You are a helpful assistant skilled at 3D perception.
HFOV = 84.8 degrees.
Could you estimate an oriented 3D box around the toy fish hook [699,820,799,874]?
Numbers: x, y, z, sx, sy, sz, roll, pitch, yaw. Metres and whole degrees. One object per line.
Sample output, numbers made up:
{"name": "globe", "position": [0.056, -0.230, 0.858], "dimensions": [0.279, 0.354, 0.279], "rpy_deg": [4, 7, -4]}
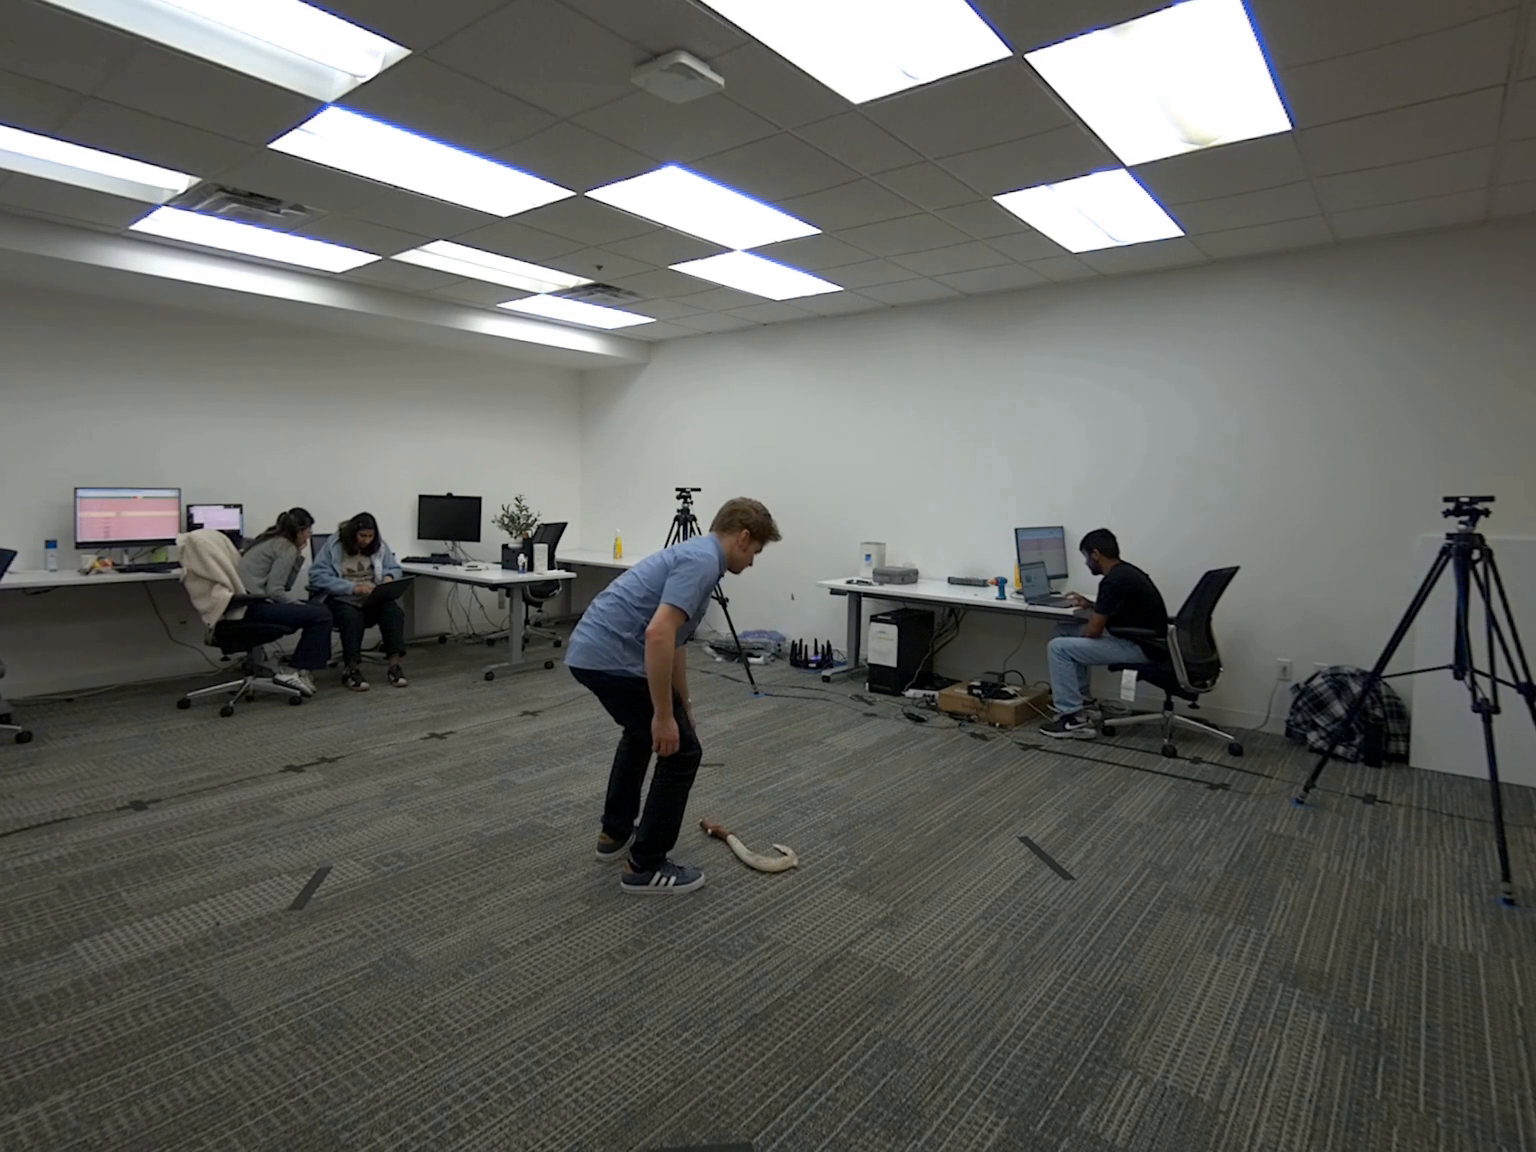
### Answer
{"name": "toy fish hook", "position": [-0.087, 1.039, 3.312], "dimensions": [0.217, 0.048, 0.524], "rpy_deg": [7, 2, -36]}
